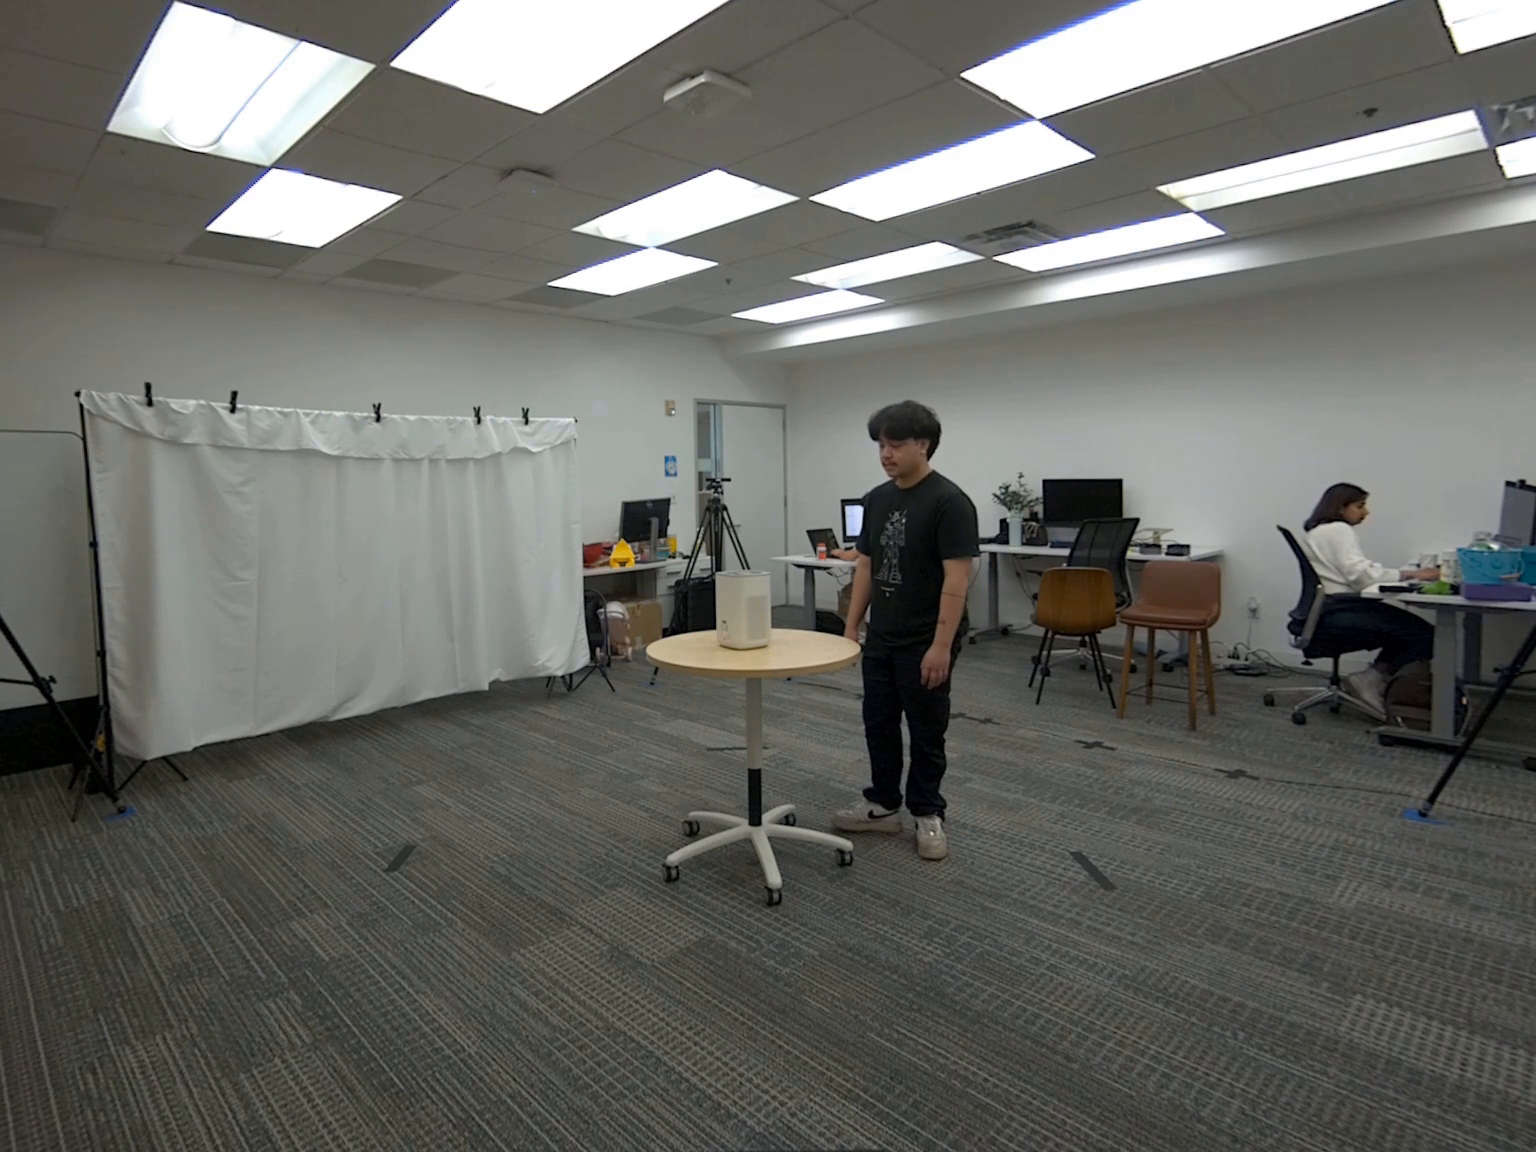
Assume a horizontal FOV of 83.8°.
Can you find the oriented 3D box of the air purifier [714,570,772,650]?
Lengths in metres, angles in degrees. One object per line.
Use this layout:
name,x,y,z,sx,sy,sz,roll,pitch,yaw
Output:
air purifier,-0.092,0.120,3.079,0.167,0.264,0.176,-4,5,-37
